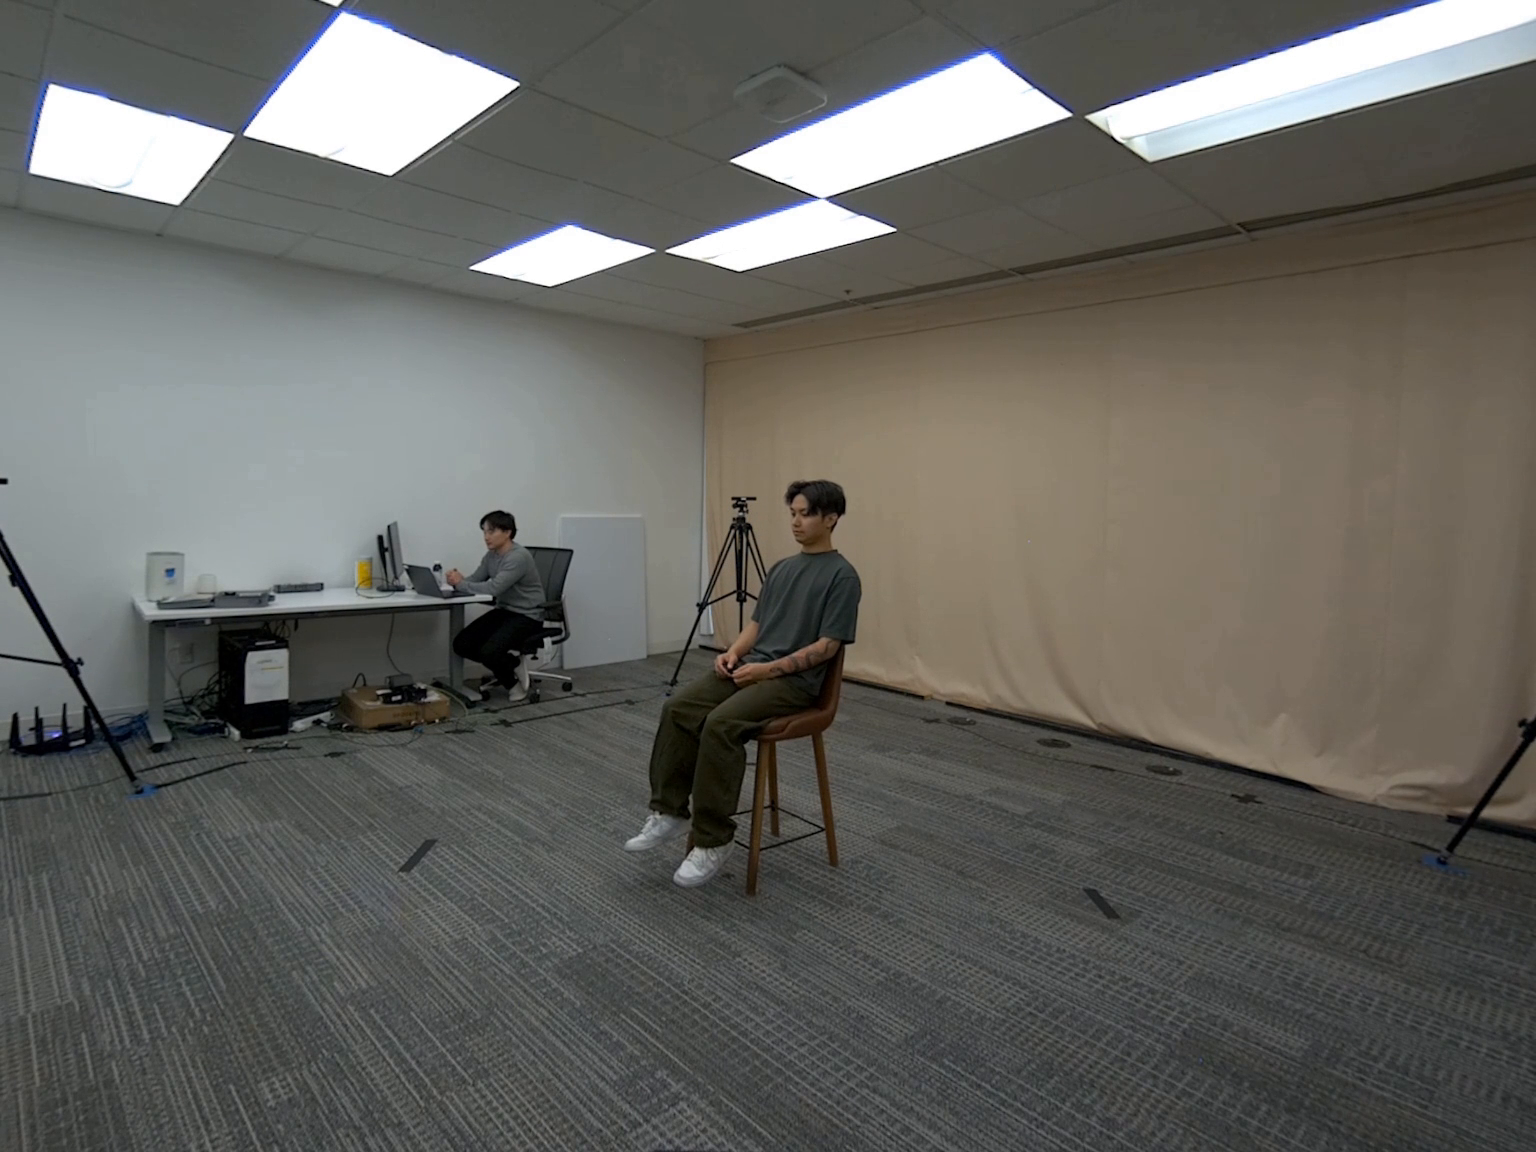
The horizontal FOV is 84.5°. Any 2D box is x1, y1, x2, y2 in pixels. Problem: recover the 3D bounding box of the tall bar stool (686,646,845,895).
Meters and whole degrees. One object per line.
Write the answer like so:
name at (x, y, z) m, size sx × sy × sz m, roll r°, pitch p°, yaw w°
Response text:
tall bar stool at (-0.004, 0.667, 3.223) m, size 0.456 × 0.889 × 0.468 m, roll 2°, pitch 2°, yaw -39°
